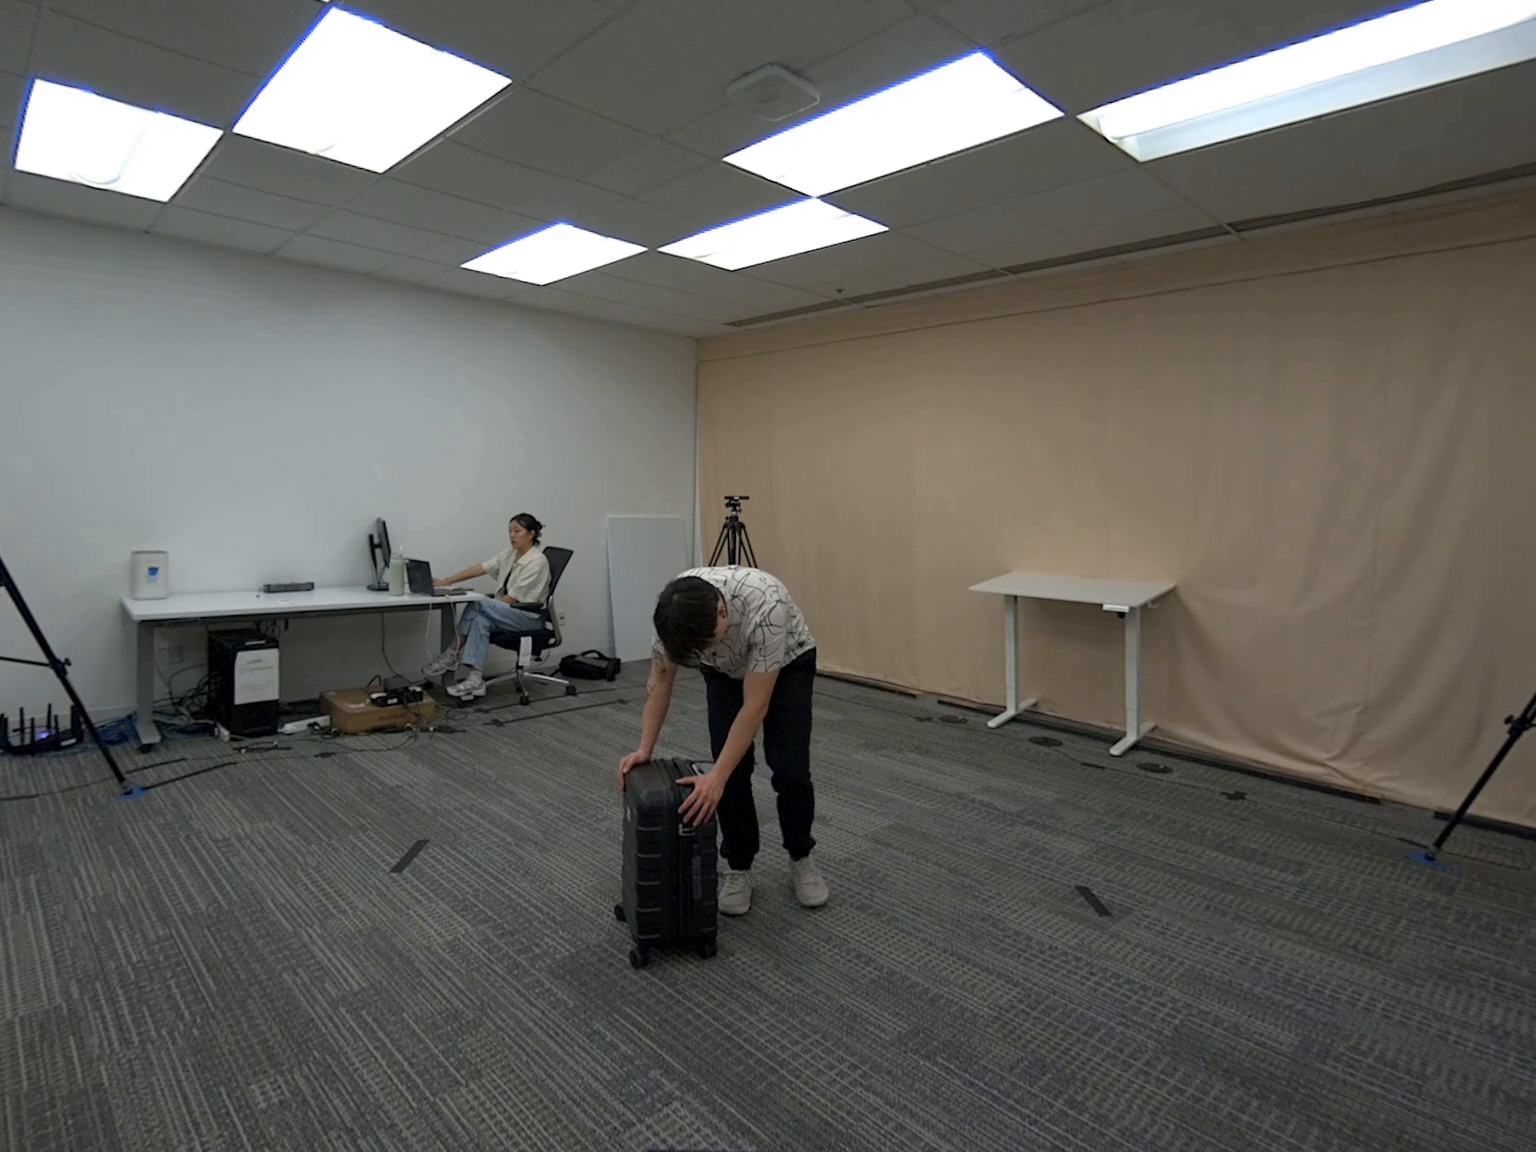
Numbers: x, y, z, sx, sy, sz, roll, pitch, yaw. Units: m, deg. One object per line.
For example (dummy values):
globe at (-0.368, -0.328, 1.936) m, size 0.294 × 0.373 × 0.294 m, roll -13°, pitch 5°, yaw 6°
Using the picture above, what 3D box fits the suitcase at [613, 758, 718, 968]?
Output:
suitcase at (-0.319, 0.870, 2.622) m, size 0.245 × 0.547 × 0.381 m, roll 0°, pitch 5°, yaw -18°
